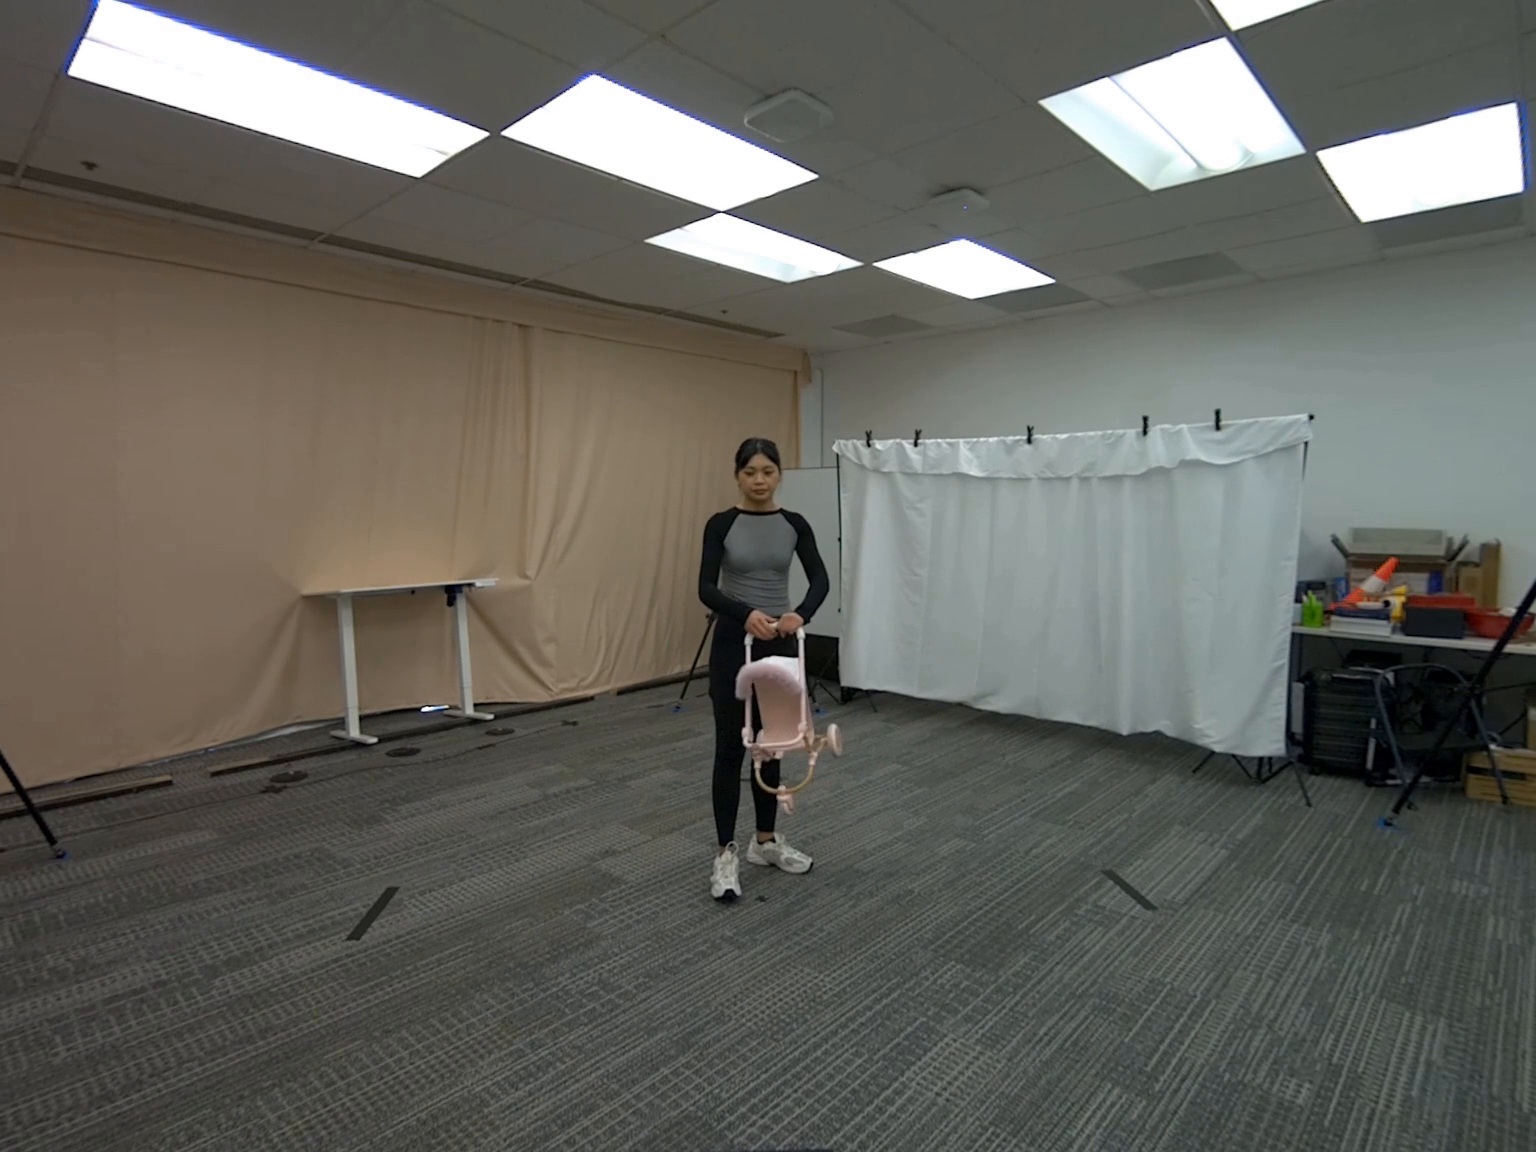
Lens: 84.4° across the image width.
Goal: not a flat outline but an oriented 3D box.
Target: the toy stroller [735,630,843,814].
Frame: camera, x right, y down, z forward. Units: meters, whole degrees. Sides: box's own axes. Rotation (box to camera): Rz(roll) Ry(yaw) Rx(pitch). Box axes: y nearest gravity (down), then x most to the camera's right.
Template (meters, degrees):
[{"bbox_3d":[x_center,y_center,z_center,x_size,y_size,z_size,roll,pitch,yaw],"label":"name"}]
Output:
[{"bbox_3d":[0.044,0.470,2.730,0.288,0.527,0.338,-6,18,24],"label":"toy stroller"}]
